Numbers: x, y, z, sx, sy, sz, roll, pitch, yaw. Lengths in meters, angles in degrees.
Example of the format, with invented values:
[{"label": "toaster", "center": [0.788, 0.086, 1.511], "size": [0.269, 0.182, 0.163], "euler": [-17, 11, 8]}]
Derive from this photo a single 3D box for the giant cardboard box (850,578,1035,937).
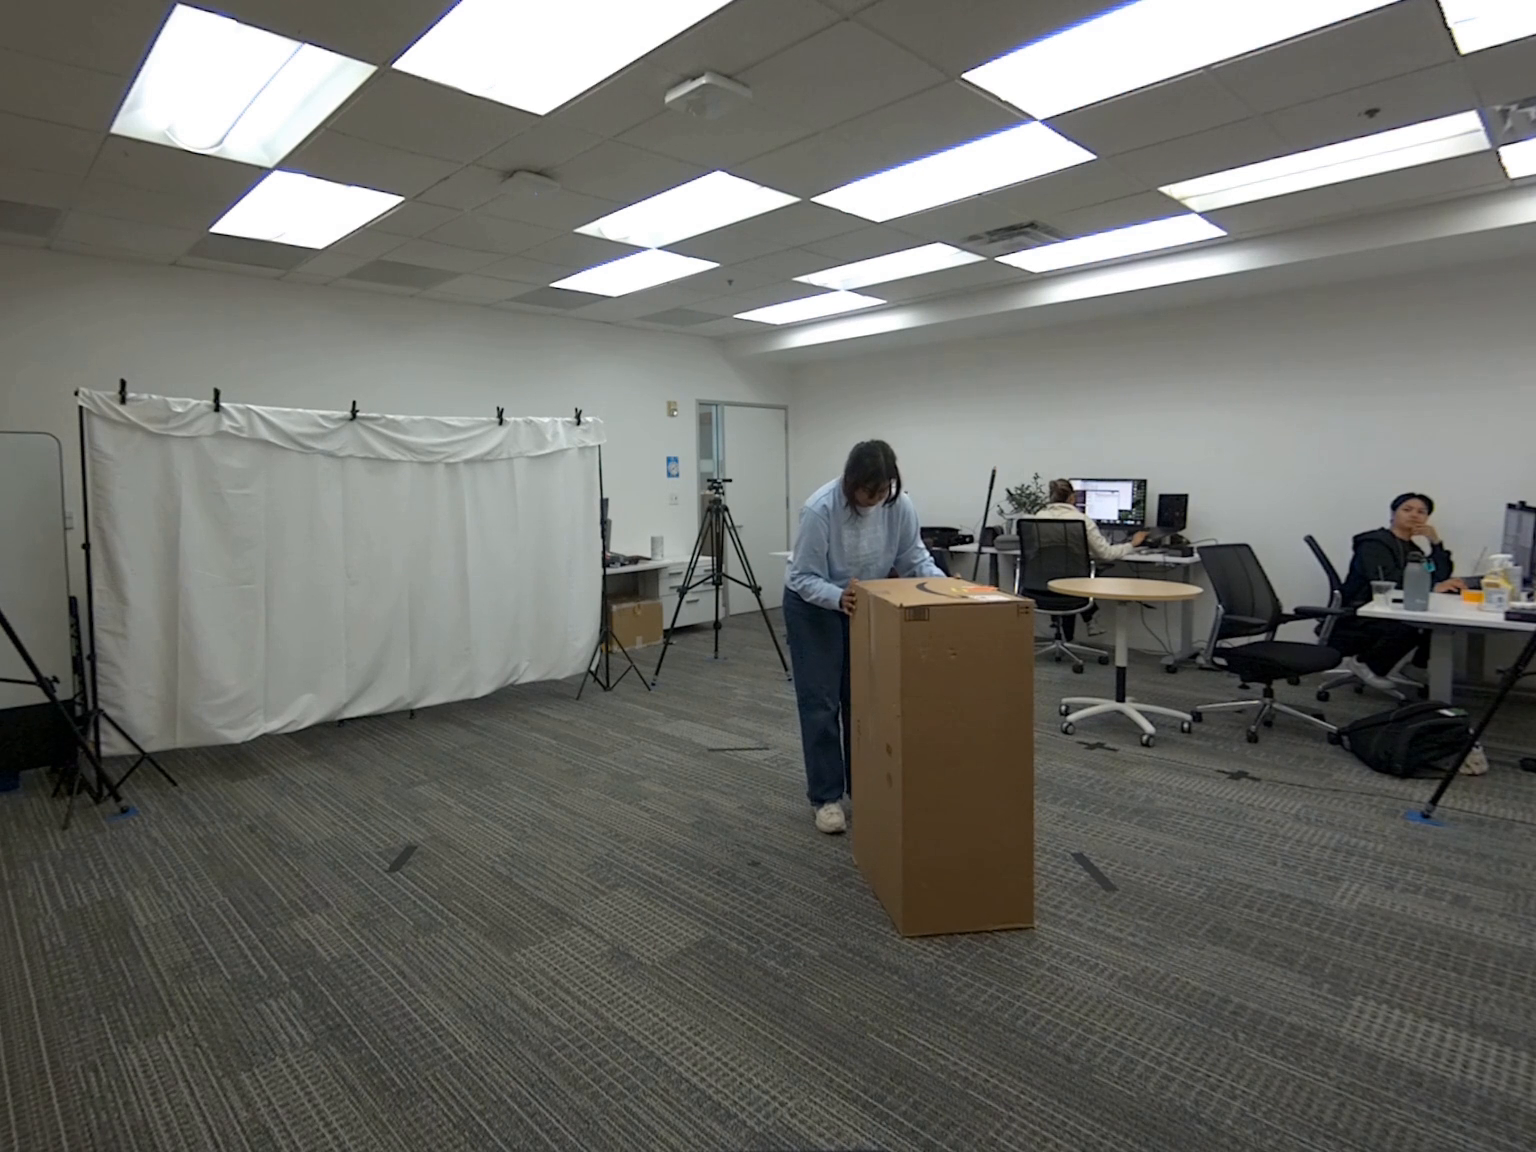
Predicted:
[{"label": "giant cardboard box", "center": [0.559, 0.557, 2.857], "size": [0.423, 1.022, 0.584], "euler": [-2, 4, -9]}]
